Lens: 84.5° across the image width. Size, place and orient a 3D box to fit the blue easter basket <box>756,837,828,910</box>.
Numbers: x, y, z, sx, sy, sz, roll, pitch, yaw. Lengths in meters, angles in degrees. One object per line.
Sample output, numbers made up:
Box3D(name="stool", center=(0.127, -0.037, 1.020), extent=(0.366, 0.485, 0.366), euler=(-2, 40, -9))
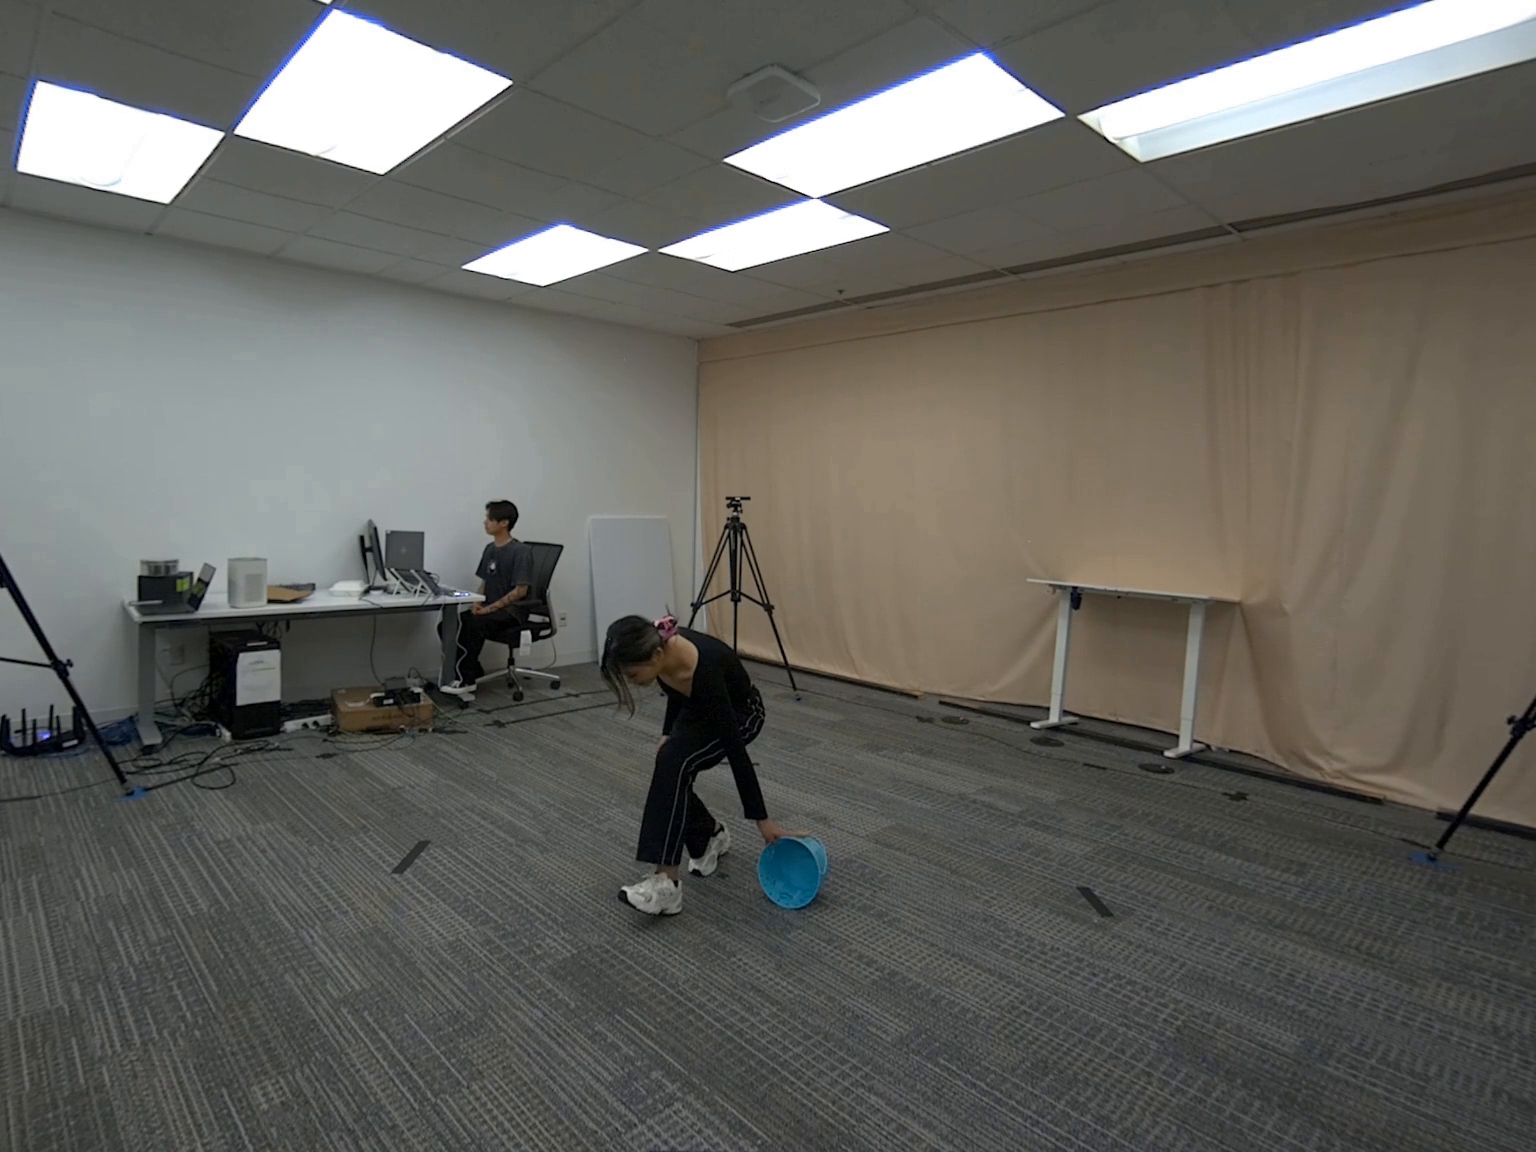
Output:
Box3D(name="blue easter basket", center=(0.093, 1.021, 2.941), extent=(0.248, 0.244, 0.152), euler=(3, -4, 25))
